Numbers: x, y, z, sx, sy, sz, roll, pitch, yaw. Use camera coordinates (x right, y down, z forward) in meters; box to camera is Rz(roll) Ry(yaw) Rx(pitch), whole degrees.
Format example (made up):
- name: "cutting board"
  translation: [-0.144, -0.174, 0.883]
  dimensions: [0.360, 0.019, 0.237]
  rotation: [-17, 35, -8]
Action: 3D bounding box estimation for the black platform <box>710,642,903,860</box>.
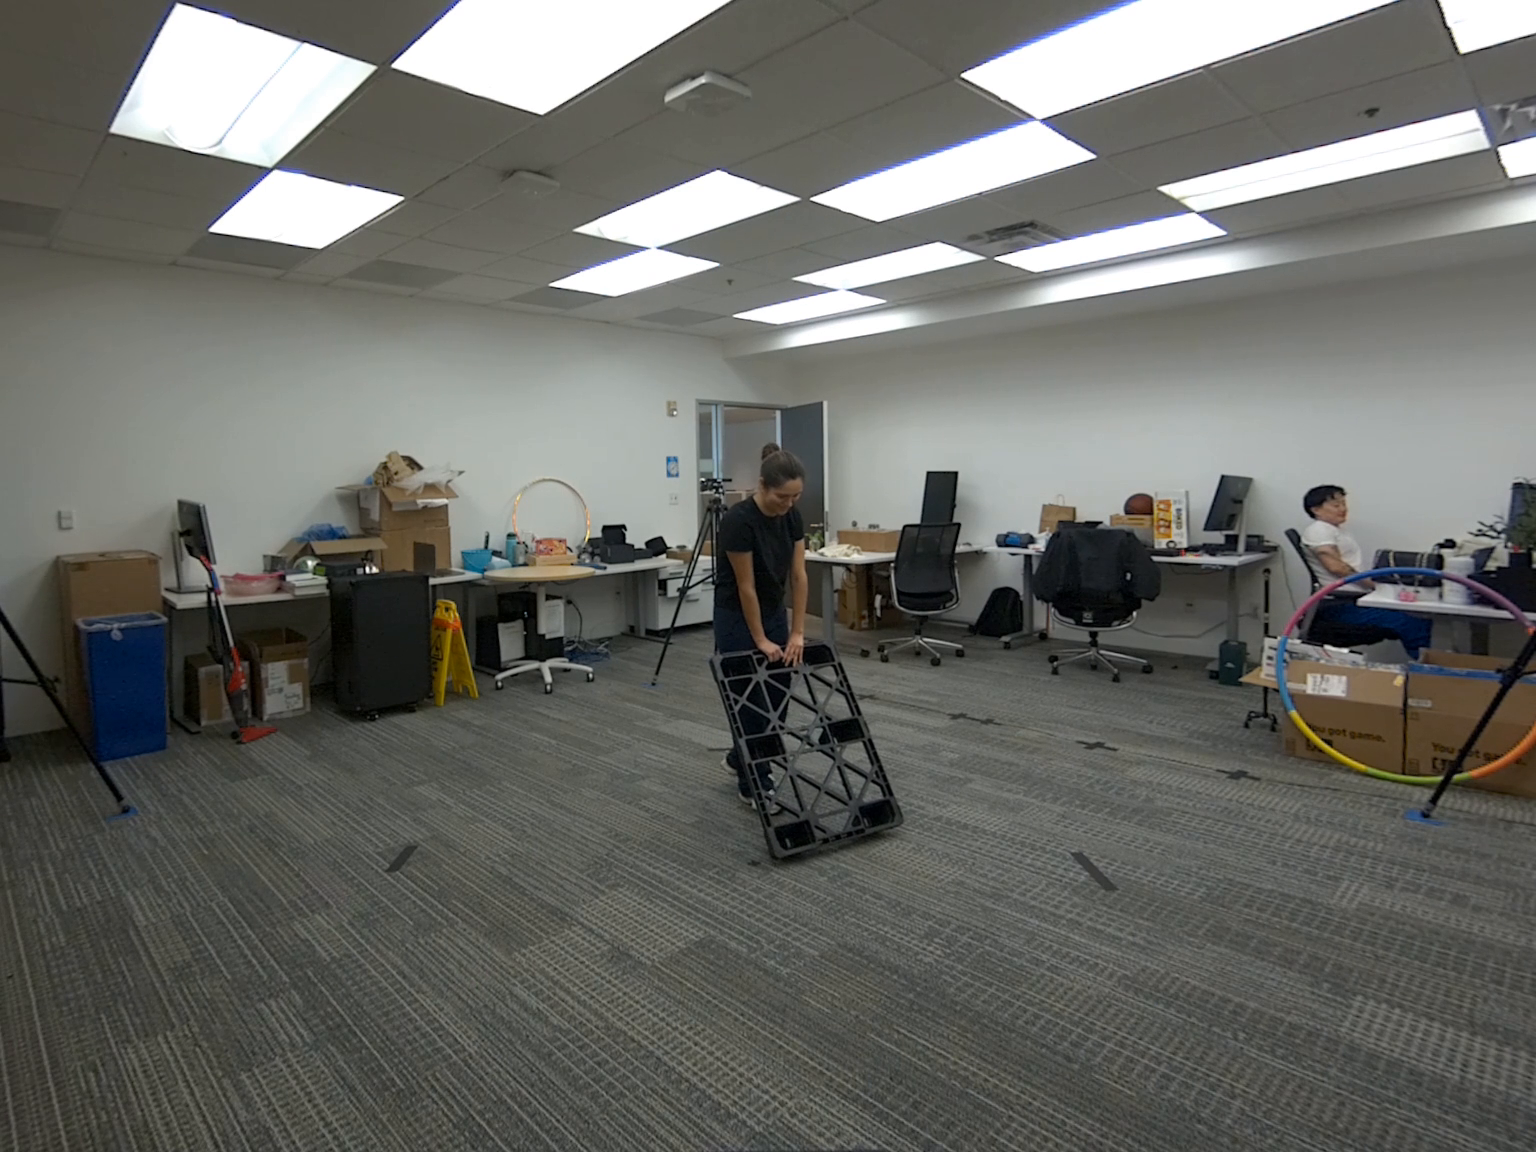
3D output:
- name: "black platform"
  translation: [0.124, 0.671, 3.420]
  dimensions: [0.591, 0.829, 0.142]
  rotation: [-4, -31, -29]
